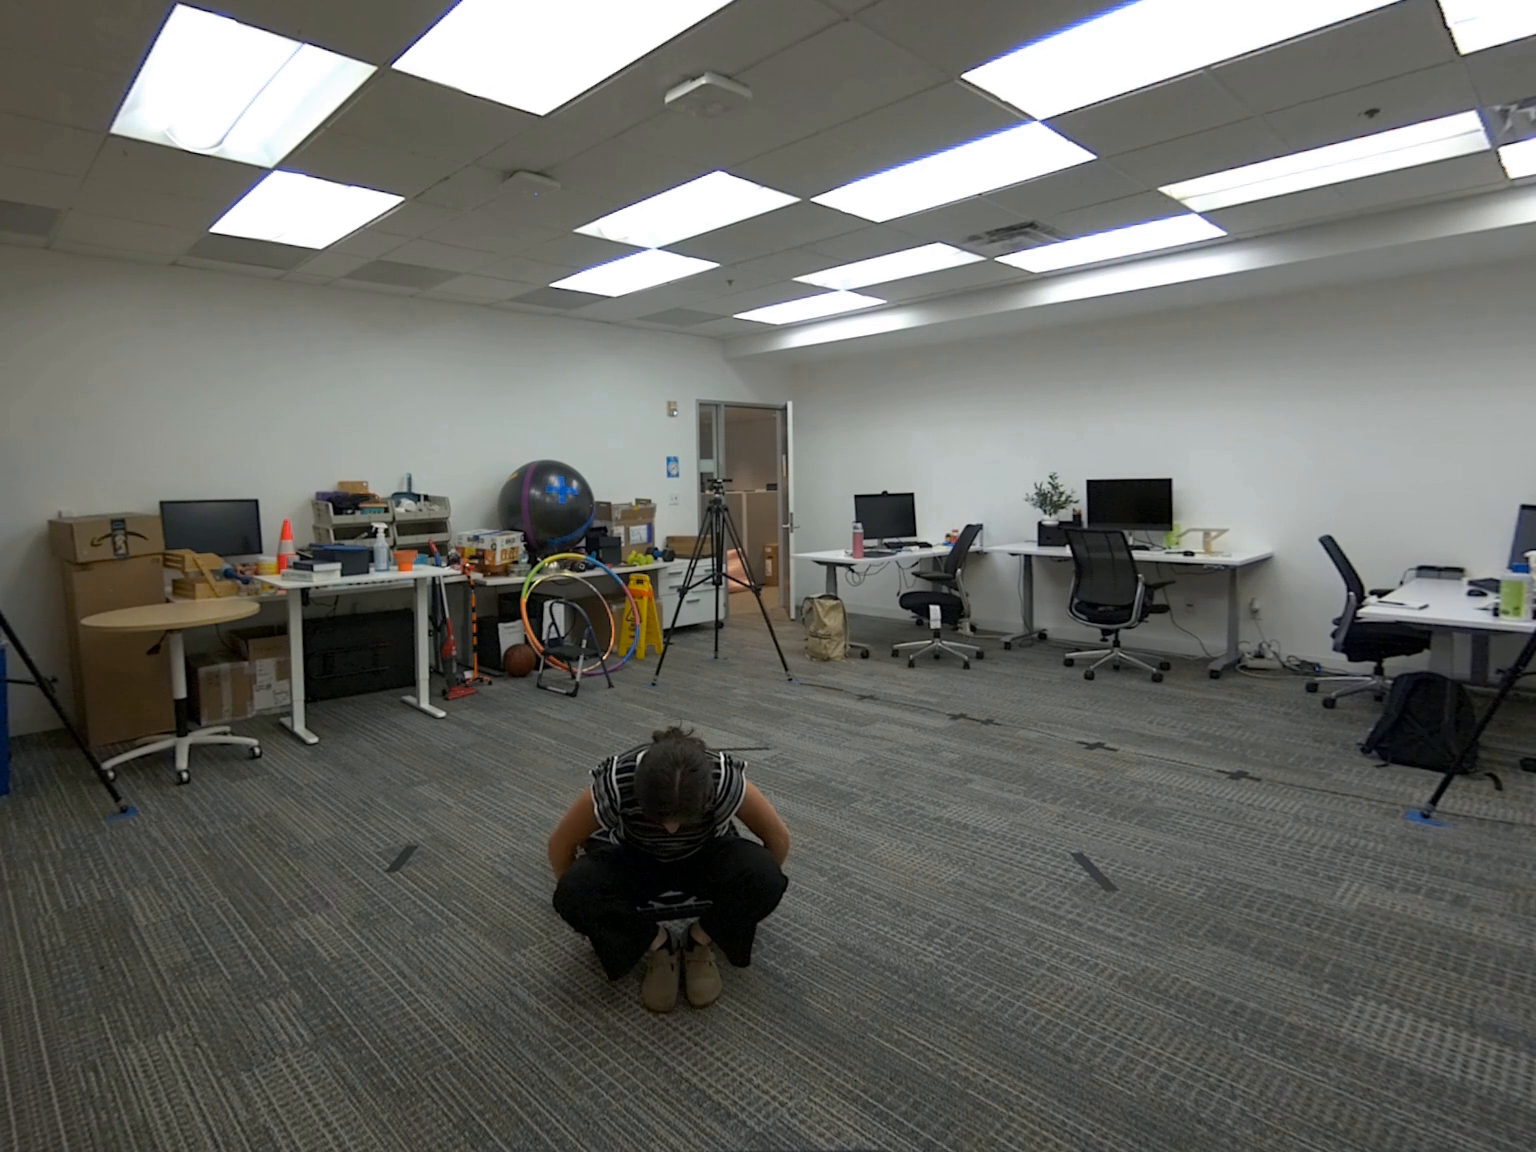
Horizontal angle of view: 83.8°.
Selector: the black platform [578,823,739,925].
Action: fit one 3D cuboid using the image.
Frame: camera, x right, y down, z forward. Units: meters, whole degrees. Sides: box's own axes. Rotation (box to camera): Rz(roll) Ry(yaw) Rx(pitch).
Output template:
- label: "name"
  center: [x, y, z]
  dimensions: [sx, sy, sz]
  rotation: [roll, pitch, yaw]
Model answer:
- label: "black platform"
  center: [-0.366, 1.007, 2.916]
  dimensions: [0.598, 0.142, 0.819]
  rotation: [-4, 7, -13]
